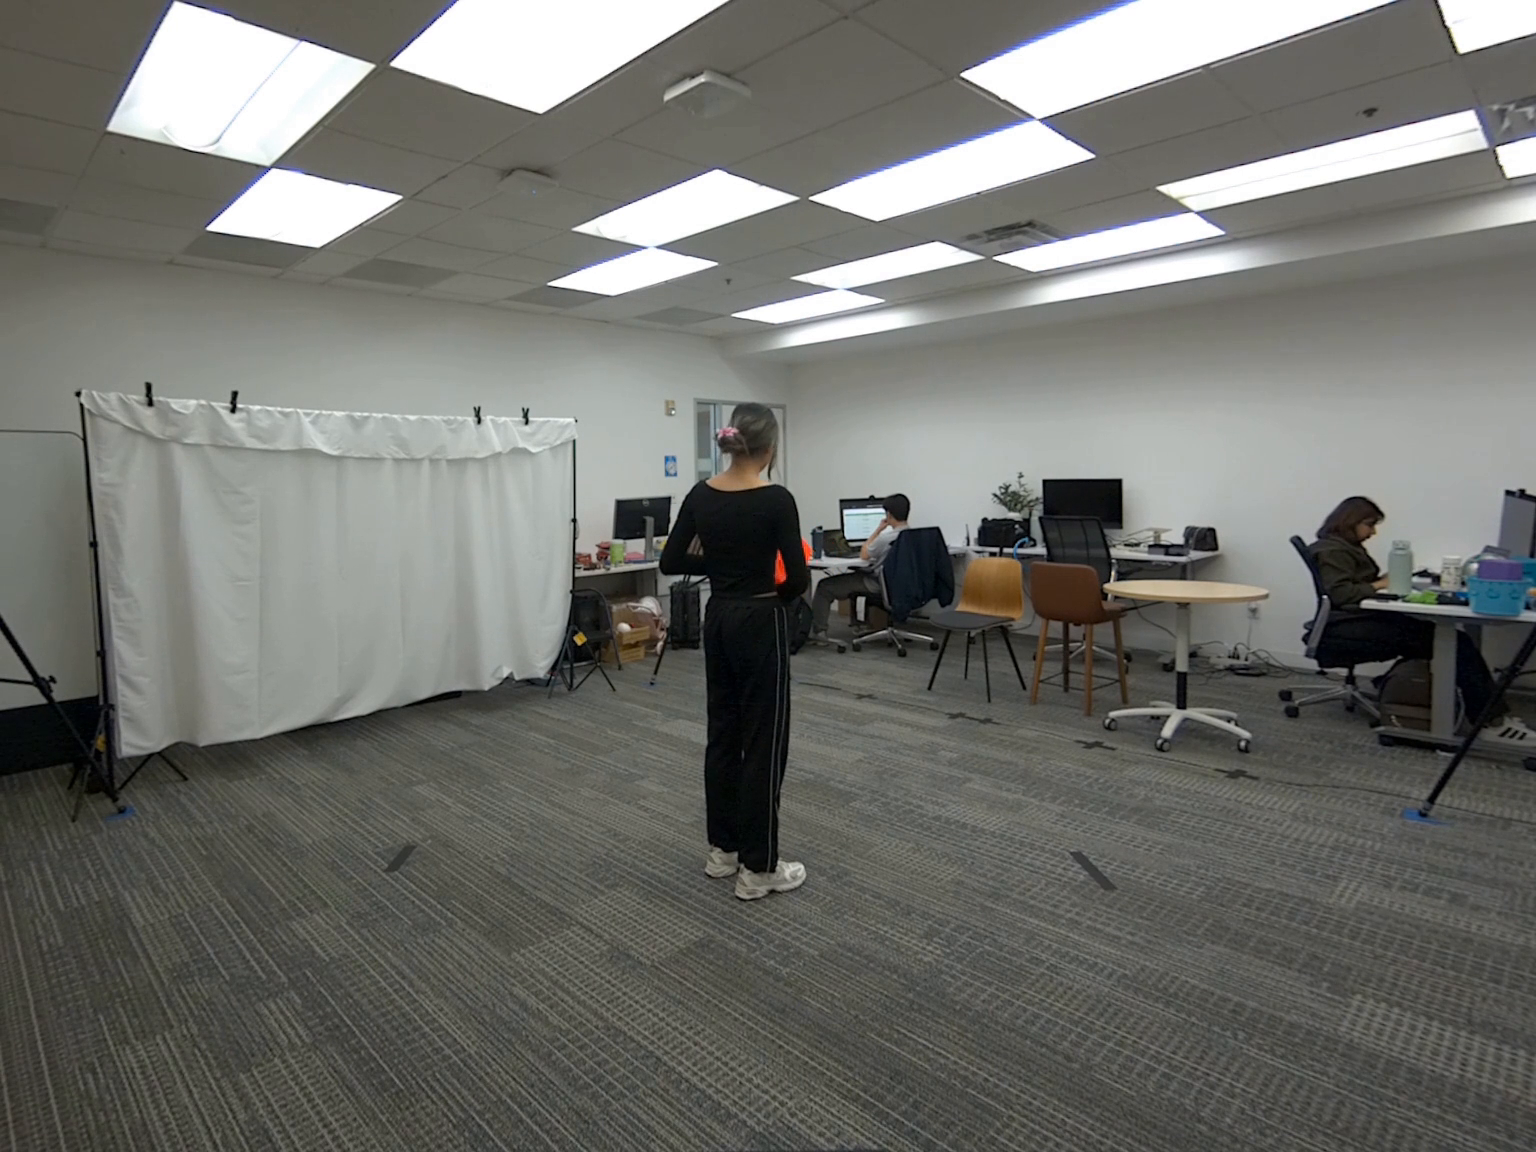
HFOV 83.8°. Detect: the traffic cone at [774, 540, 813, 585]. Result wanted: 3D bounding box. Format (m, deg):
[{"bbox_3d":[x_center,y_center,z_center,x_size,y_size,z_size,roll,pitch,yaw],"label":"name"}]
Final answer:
[{"bbox_3d":[-0.062,-0.070,3.146,0.395,0.205,0.197,5,-26,36],"label":"traffic cone"}]
